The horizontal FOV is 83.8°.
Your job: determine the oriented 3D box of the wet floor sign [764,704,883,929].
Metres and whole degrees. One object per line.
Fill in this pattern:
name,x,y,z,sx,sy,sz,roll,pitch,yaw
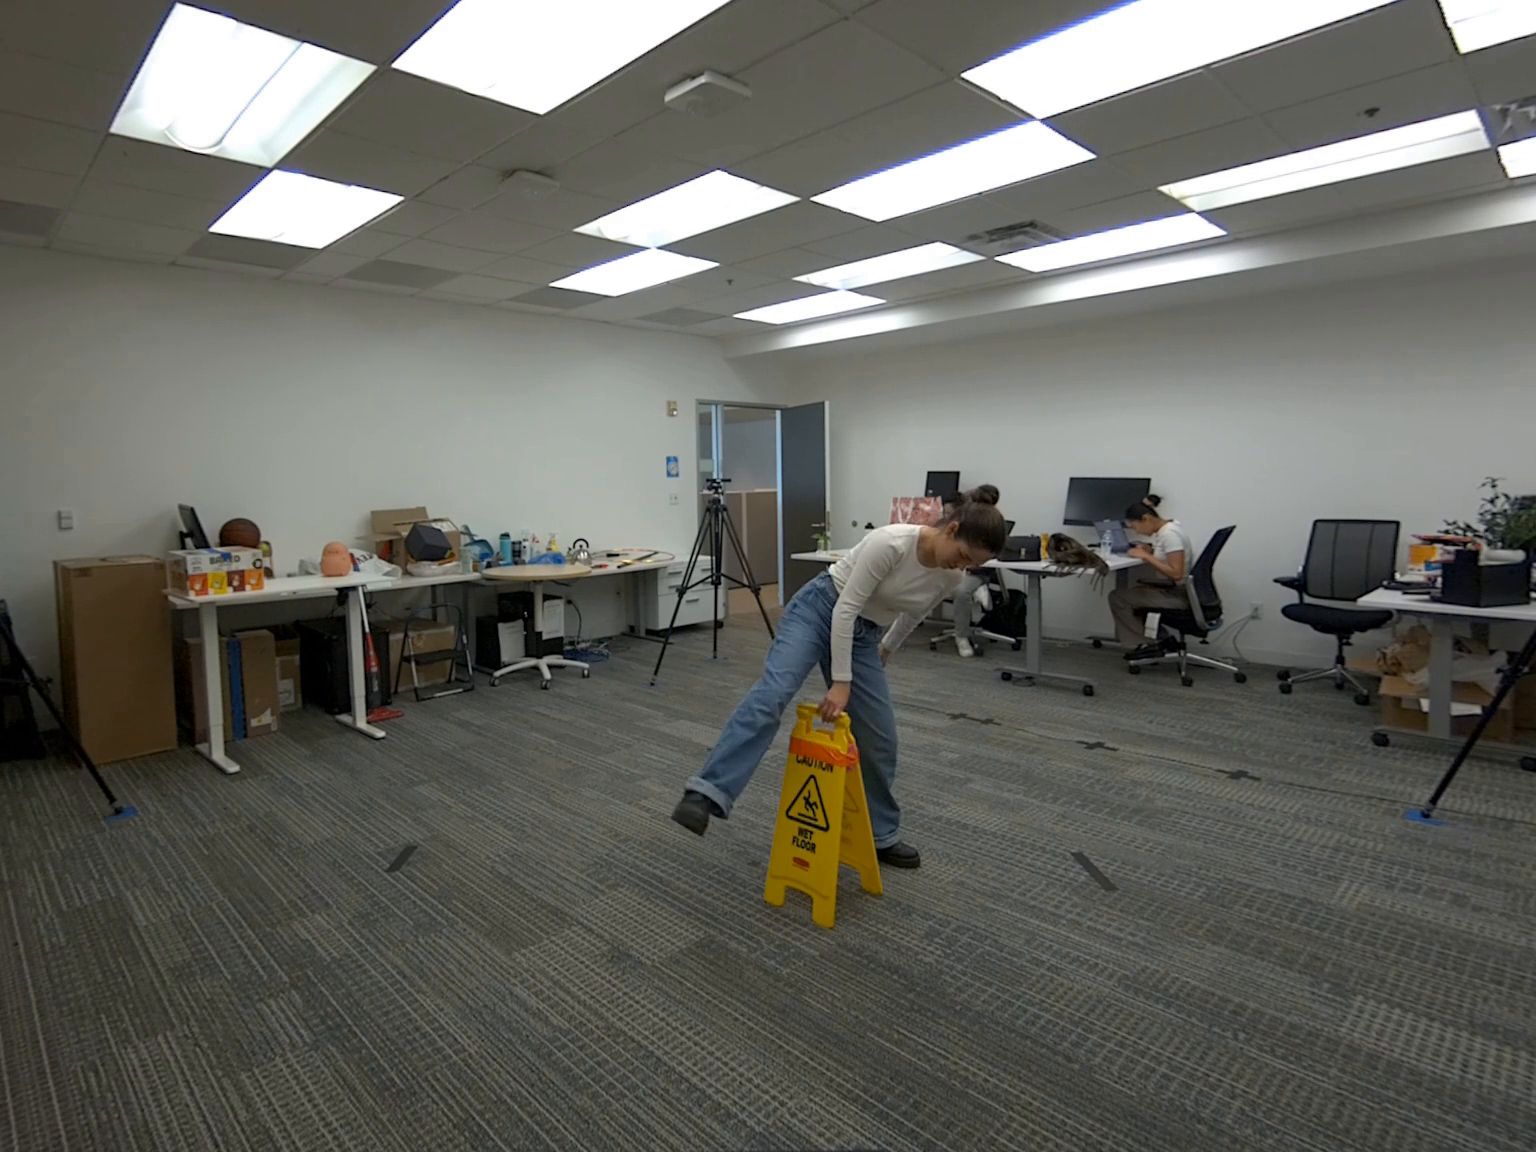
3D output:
wet floor sign,0.183,0.754,2.820,0.291,0.643,0.282,3,6,41
